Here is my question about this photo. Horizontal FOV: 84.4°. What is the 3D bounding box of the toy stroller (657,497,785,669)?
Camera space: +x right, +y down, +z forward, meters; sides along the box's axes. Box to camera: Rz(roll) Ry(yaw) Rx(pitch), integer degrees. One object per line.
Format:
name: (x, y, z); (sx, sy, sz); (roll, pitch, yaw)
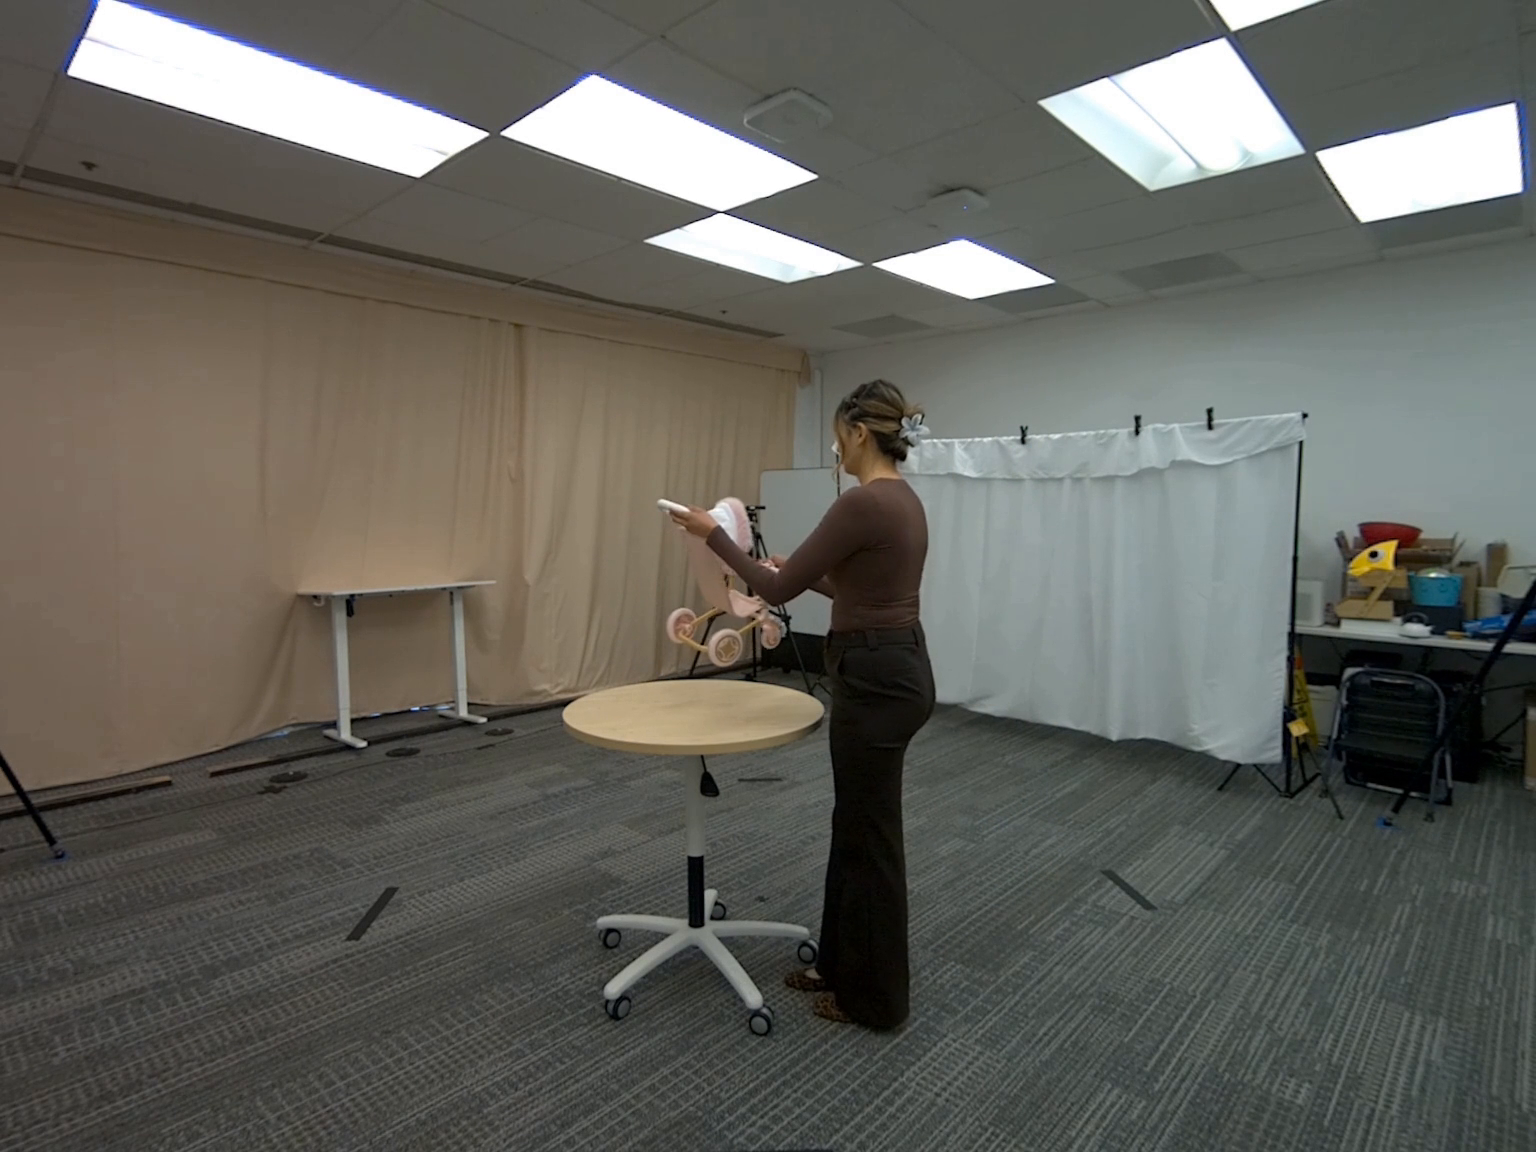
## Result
toy stroller: (-0.110, 0.009, 2.516); (0.334, 0.529, 0.290); (-15, 17, -27)
